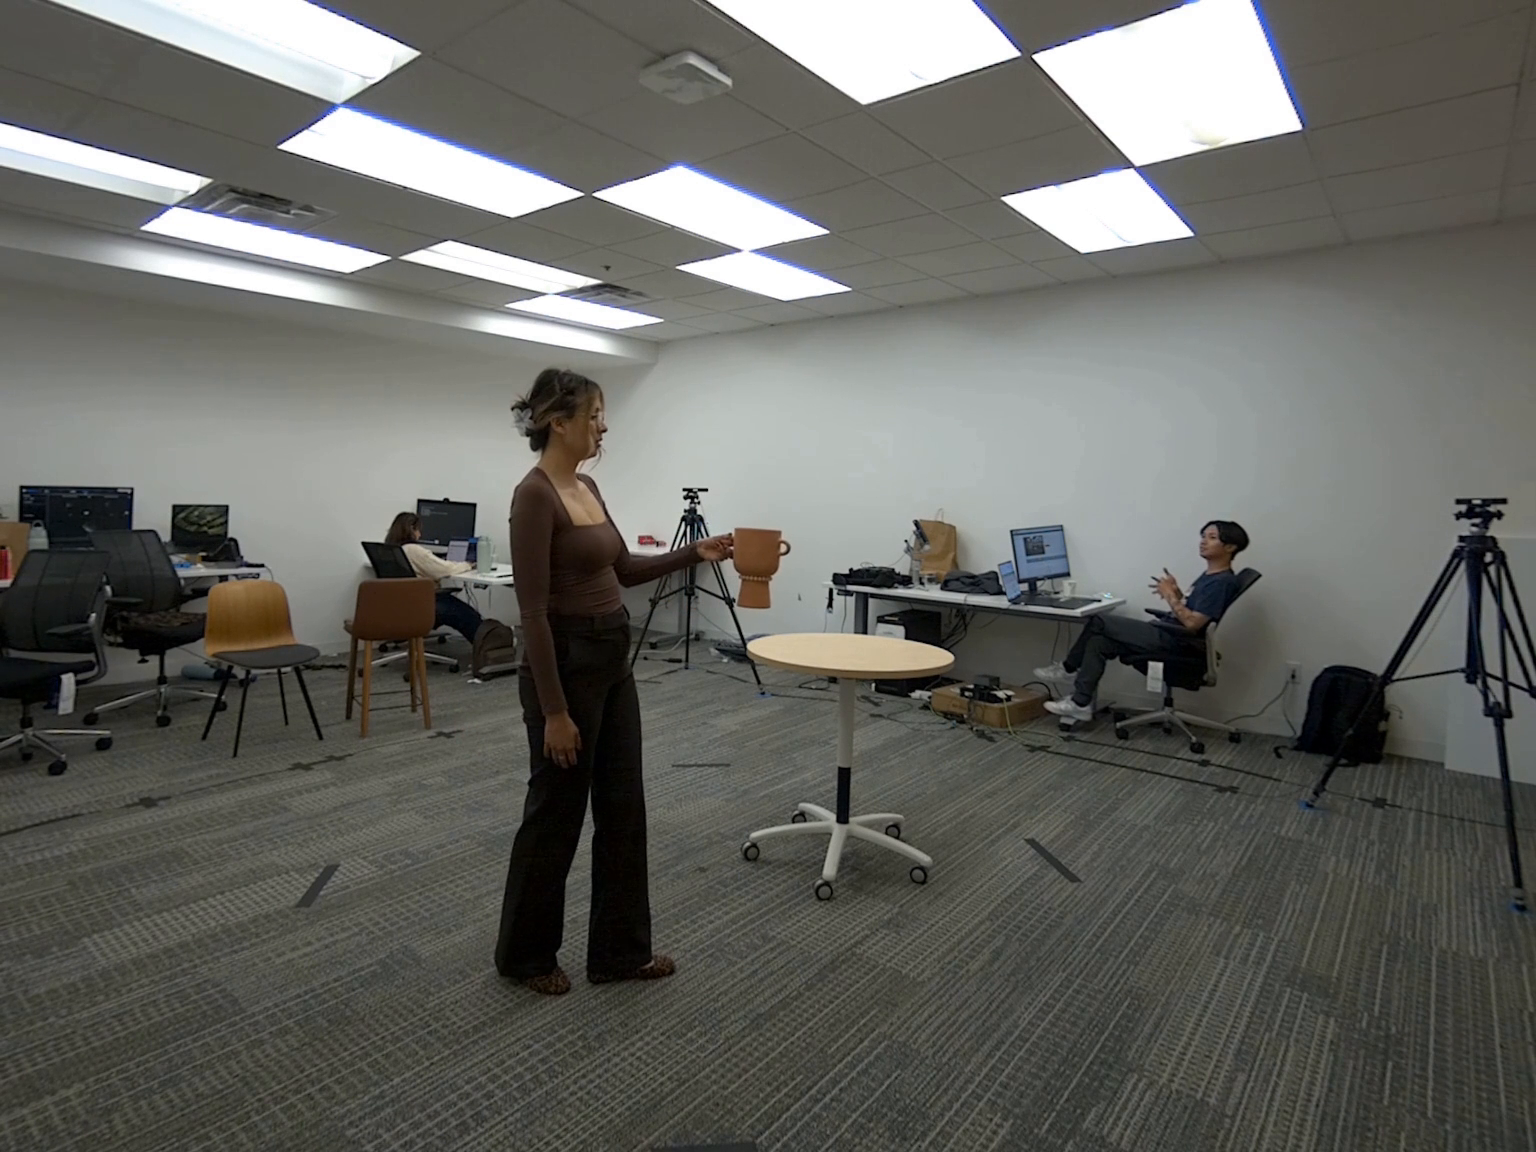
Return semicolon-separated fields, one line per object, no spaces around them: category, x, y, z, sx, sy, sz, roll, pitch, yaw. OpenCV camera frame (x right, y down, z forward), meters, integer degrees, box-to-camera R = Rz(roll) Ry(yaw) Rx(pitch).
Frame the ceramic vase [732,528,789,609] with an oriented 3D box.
ceramic vase;-0.045;-0.025;2.391;0.131;0.220;0.163;3;1;-29
